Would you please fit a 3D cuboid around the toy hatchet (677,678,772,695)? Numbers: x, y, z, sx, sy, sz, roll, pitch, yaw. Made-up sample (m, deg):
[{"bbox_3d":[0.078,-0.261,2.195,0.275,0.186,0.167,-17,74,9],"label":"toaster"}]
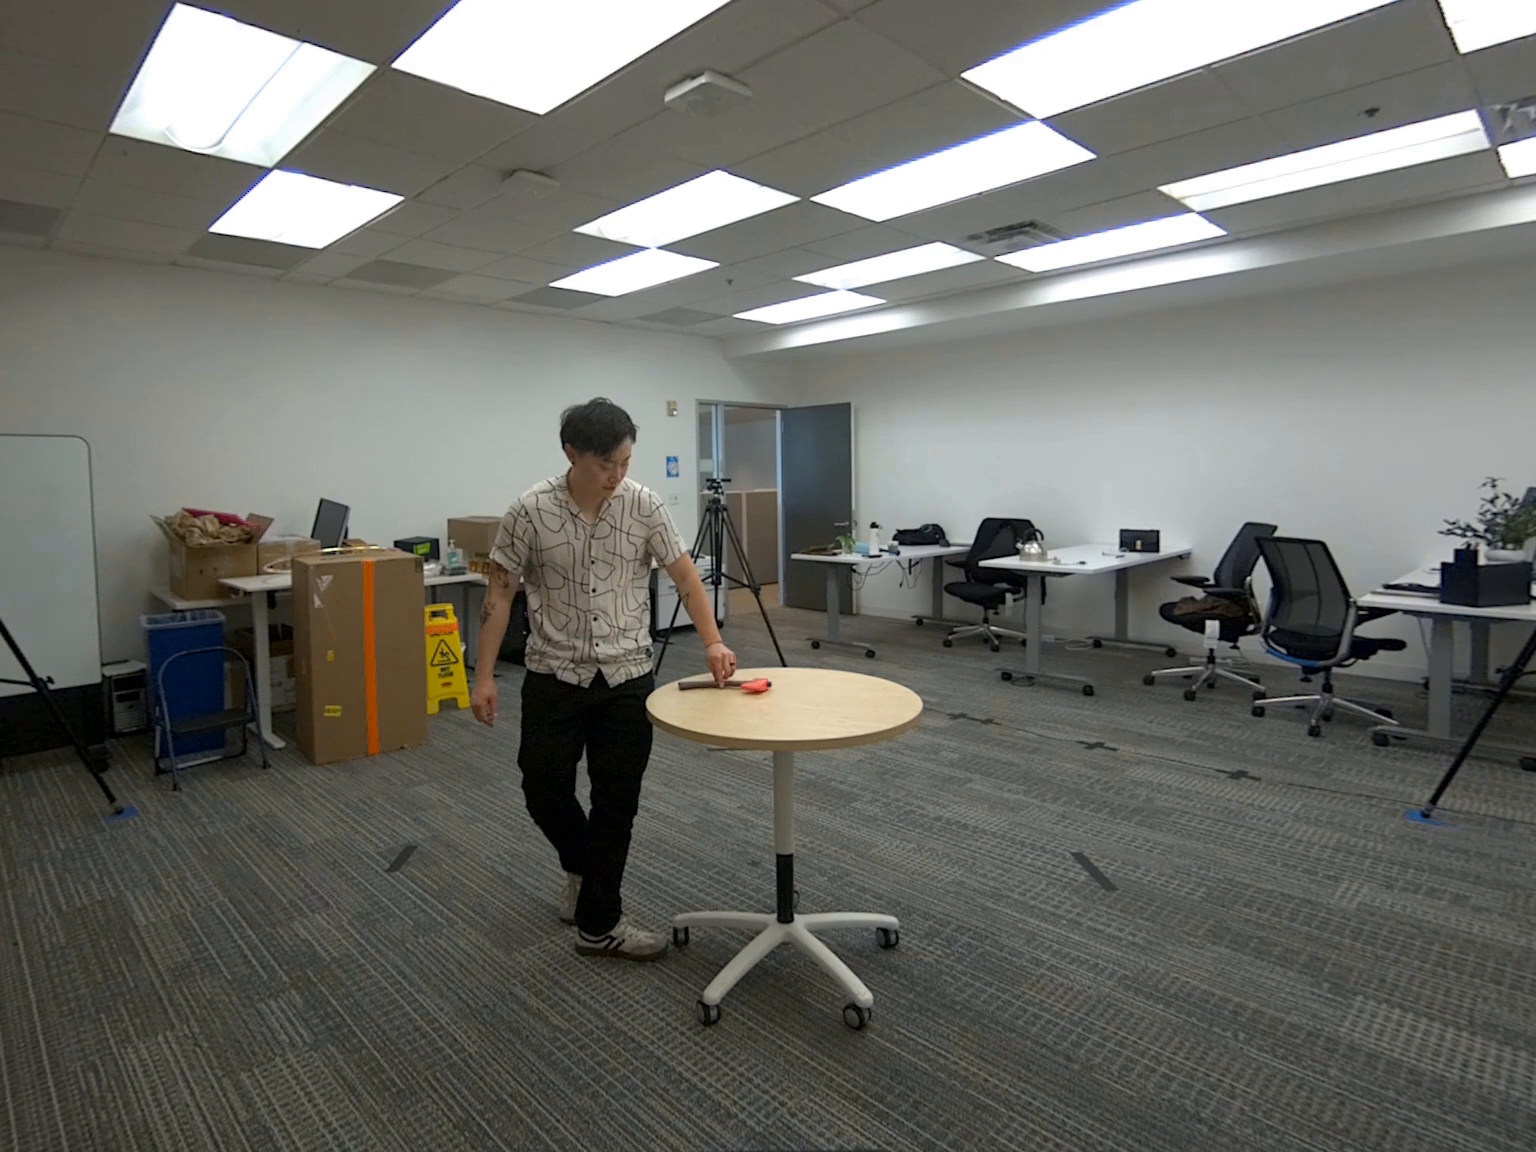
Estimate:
[{"bbox_3d":[-0.120,0.320,2.485,0.269,0.029,0.132,-3,3,-4],"label":"toy hatchet"}]
